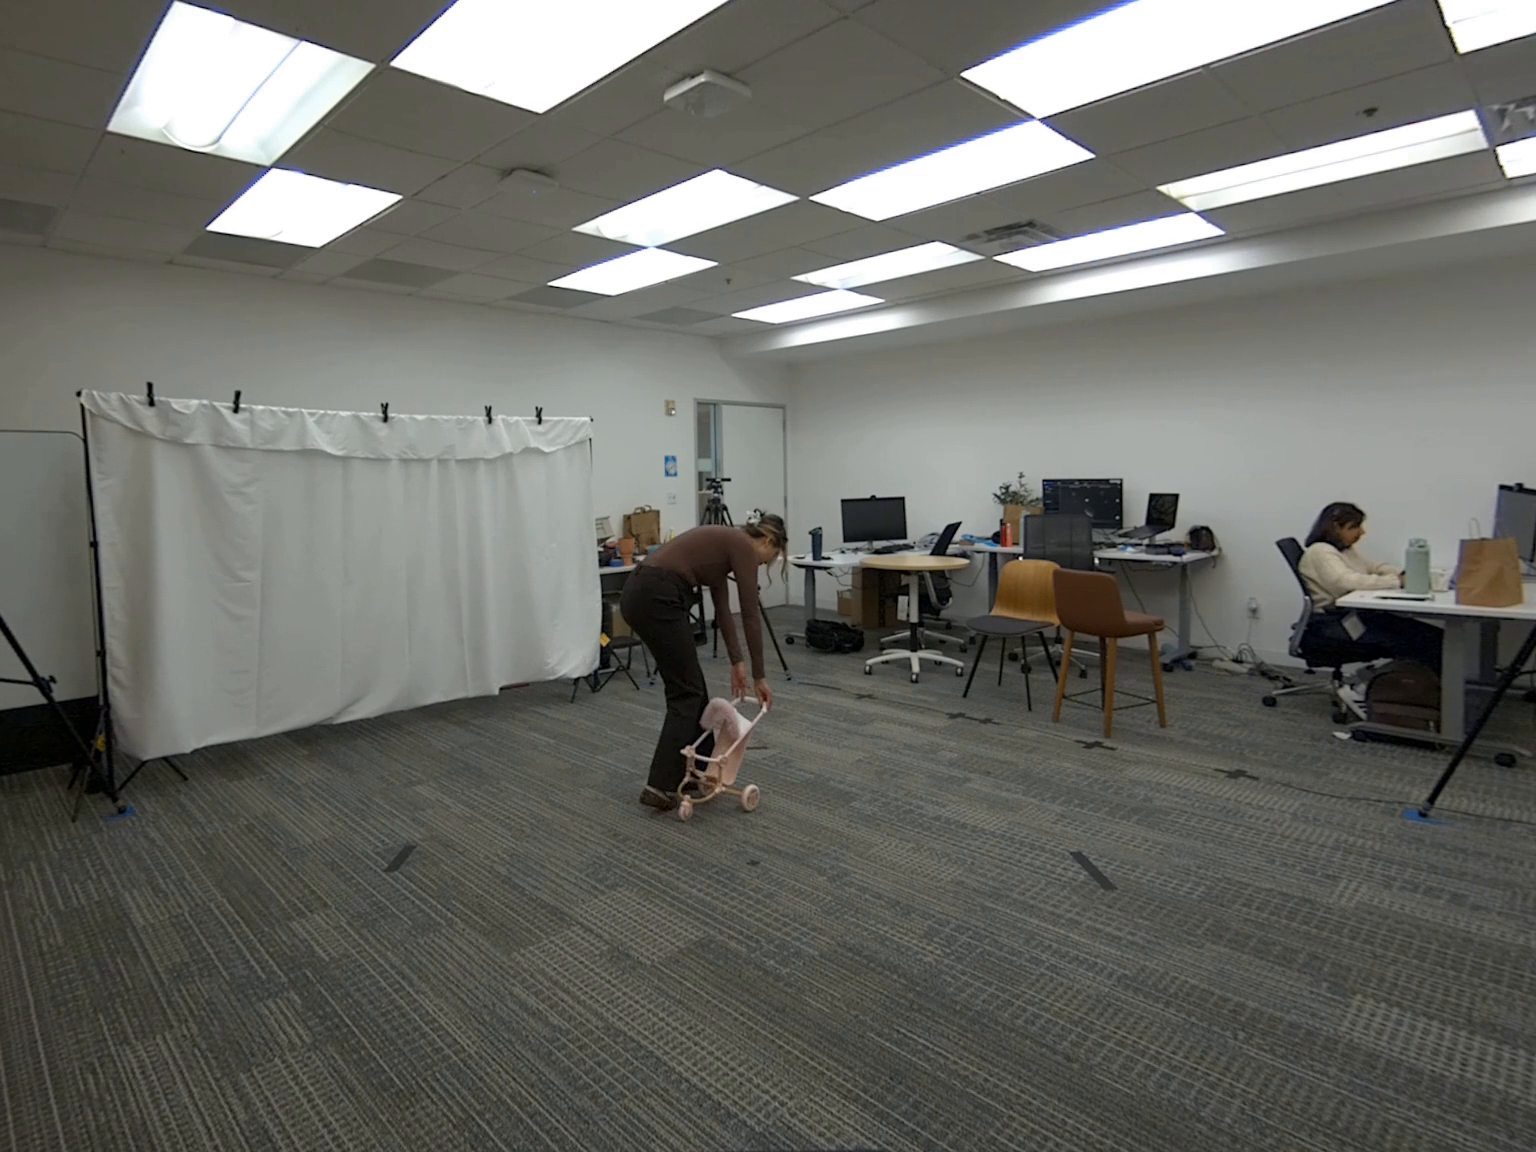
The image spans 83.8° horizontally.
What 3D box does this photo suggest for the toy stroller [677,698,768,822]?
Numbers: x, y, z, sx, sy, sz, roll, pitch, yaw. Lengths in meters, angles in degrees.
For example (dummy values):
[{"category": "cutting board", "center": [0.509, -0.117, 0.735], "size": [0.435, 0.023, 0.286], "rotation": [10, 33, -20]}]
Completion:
[{"category": "toy stroller", "center": [-0.212, 0.764, 3.623], "size": [0.329, 0.538, 0.290], "rotation": [18, -12, -43]}]
